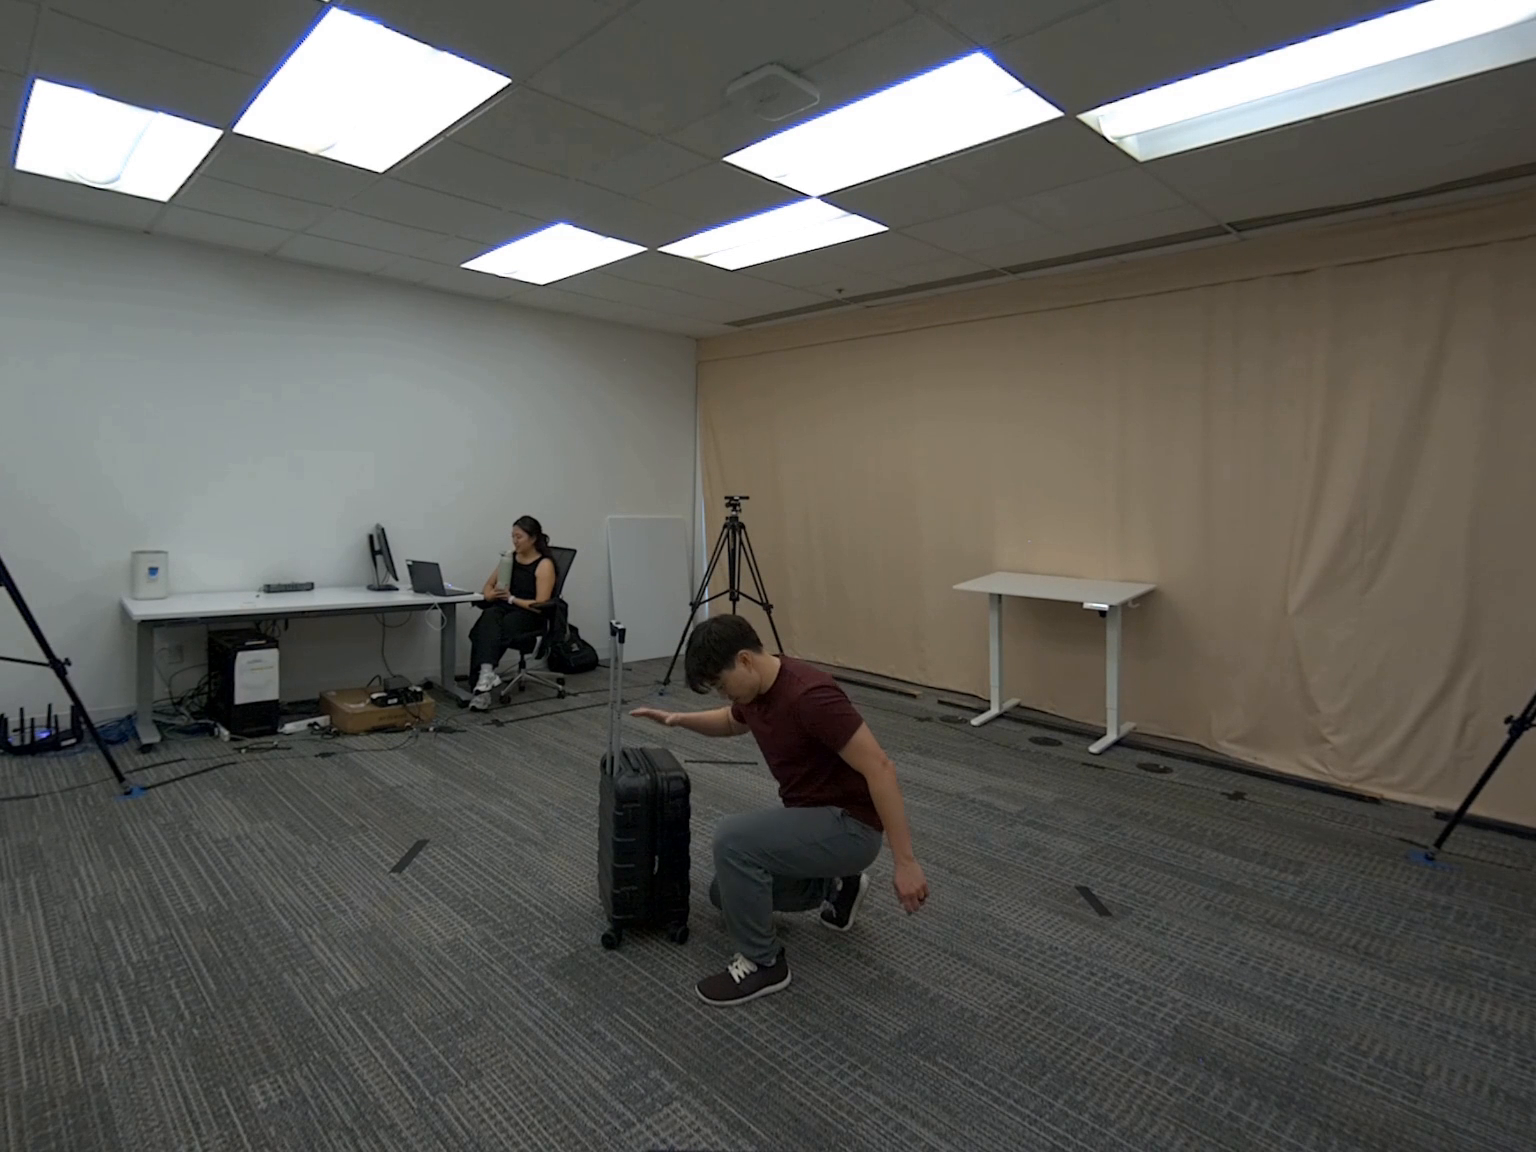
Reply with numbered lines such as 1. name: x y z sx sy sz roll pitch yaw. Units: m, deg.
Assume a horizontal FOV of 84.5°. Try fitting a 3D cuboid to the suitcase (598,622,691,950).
1. suitcase: -0.405 0.656 2.733 0.254 0.976 0.390 1 4 -16
